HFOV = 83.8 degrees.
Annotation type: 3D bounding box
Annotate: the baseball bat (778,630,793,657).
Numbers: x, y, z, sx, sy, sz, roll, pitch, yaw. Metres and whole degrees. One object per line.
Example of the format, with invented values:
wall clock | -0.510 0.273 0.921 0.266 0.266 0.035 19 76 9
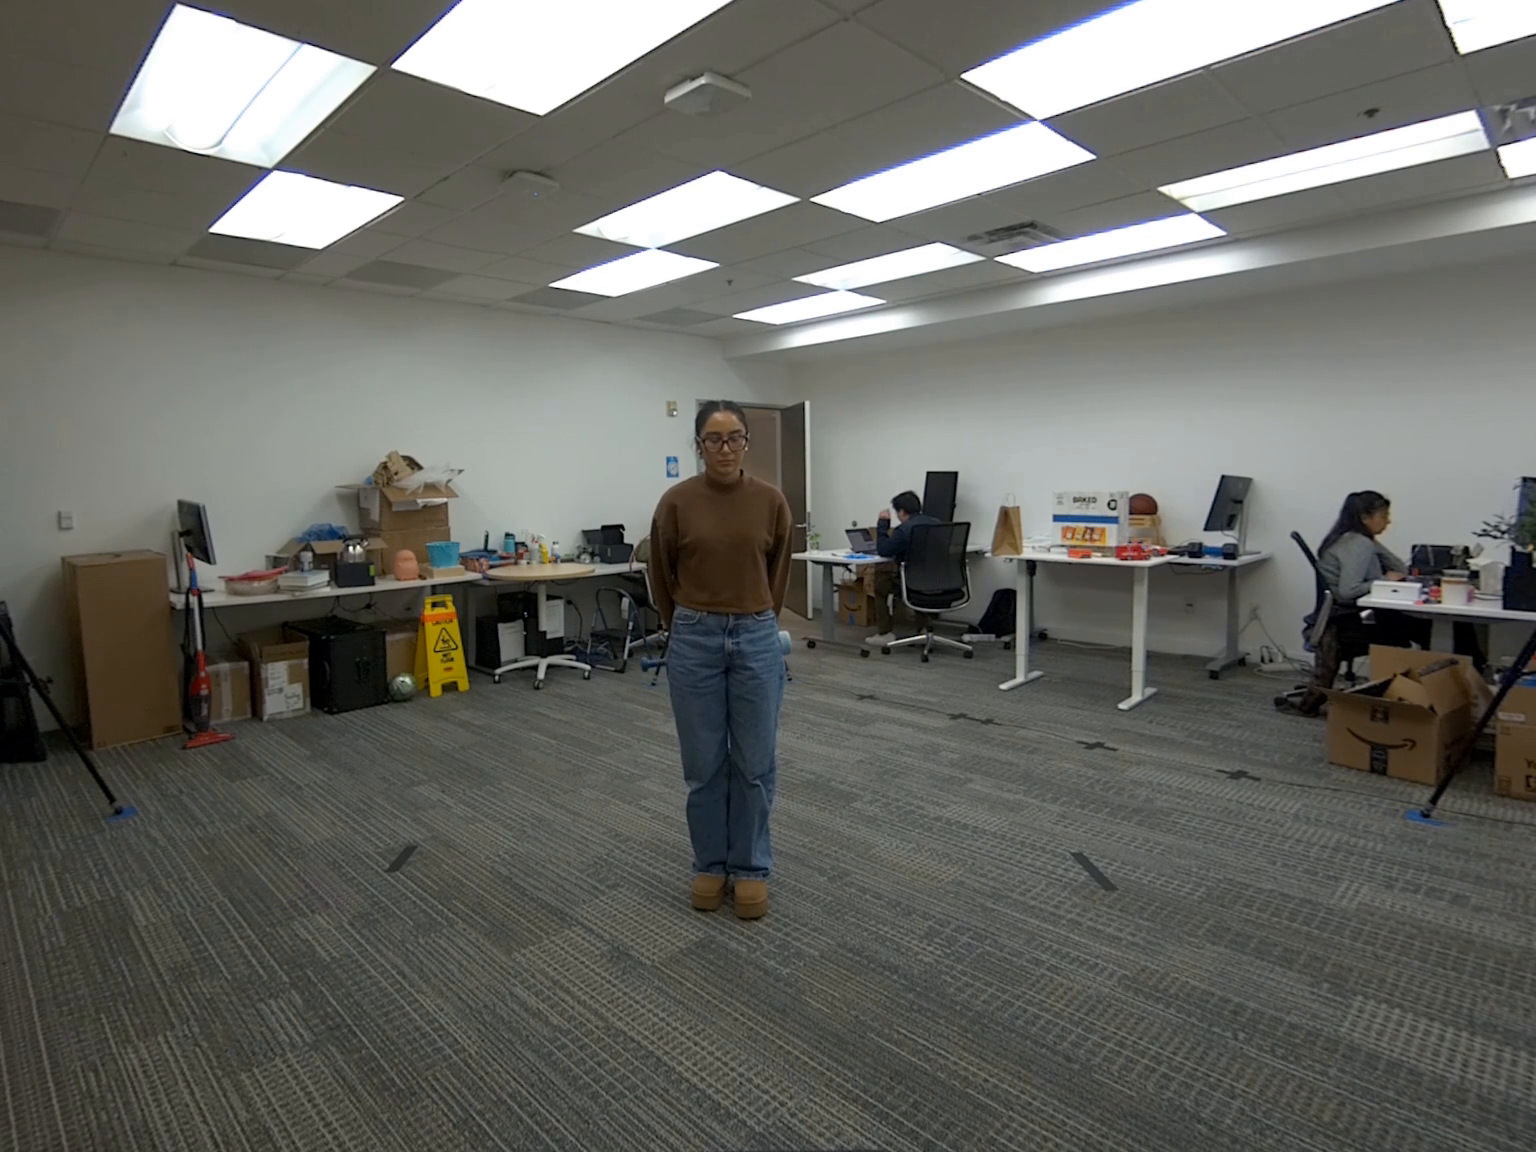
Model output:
baseball bat | -0.170 0.281 3.054 0.542 0.088 0.089 -9 5 -1
